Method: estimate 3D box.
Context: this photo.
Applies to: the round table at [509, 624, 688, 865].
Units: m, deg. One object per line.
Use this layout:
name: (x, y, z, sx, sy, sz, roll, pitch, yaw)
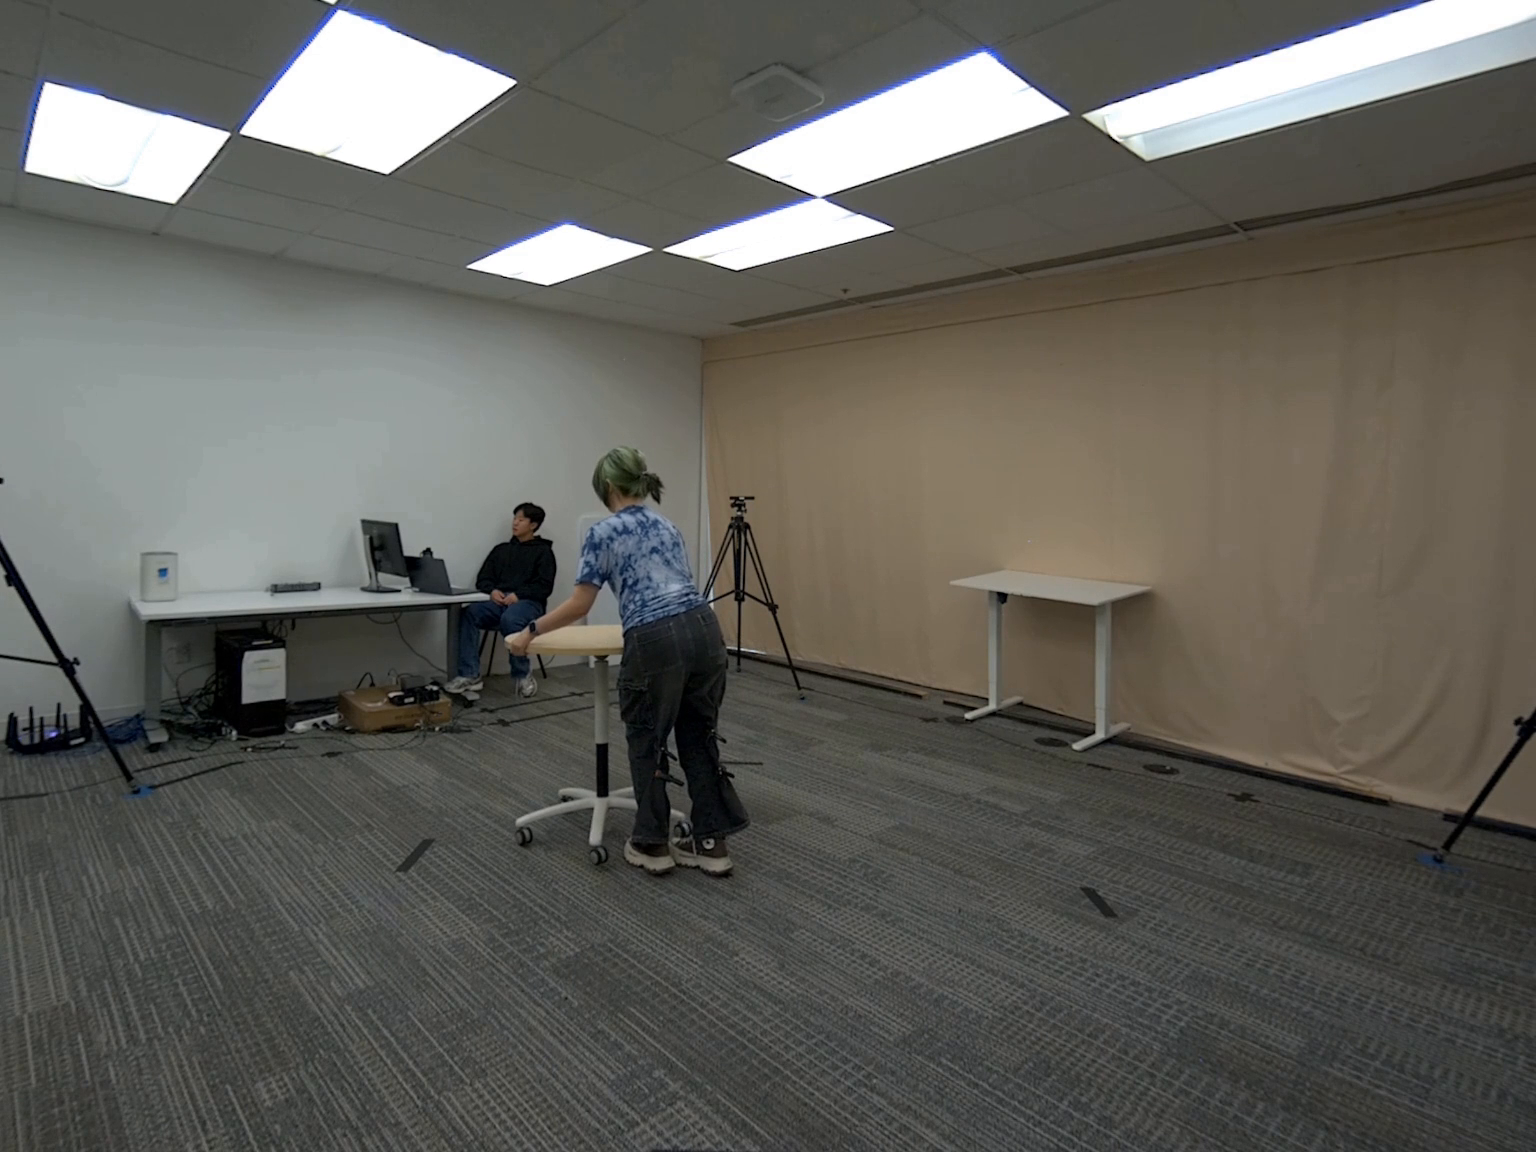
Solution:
round table: (-0.696, 0.653, 3.459, 0.763, 0.793, 0.765, -1, 2, -1)
